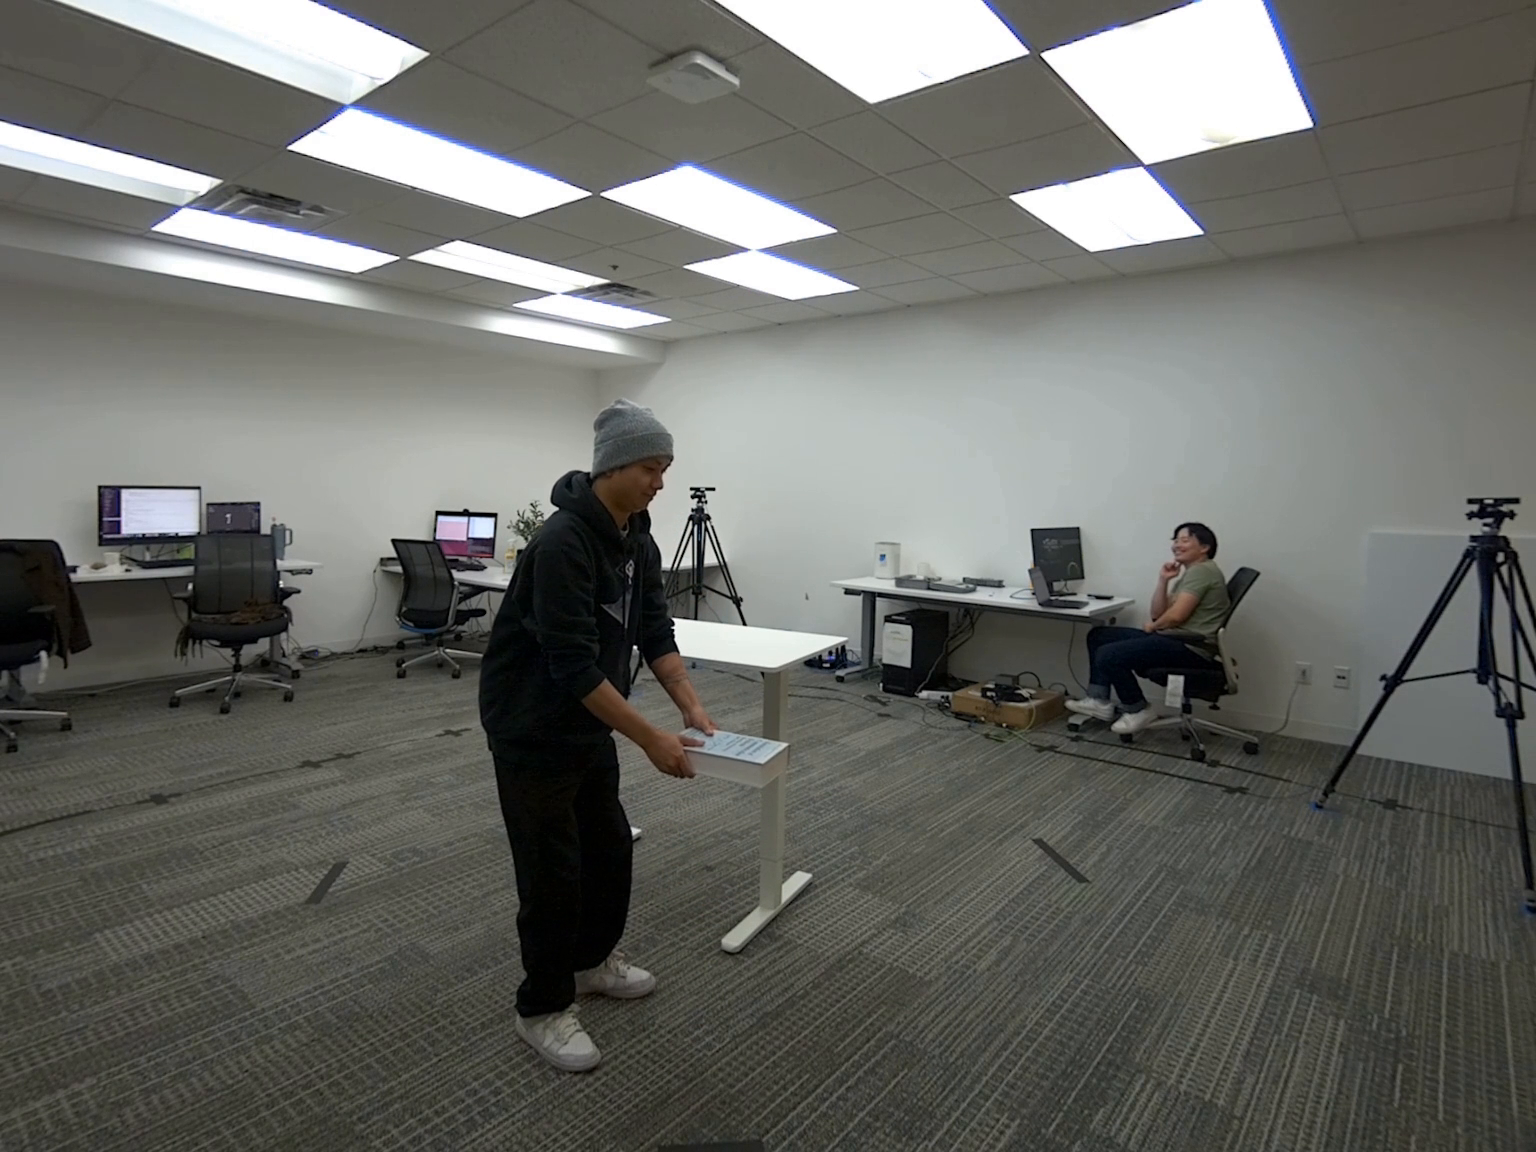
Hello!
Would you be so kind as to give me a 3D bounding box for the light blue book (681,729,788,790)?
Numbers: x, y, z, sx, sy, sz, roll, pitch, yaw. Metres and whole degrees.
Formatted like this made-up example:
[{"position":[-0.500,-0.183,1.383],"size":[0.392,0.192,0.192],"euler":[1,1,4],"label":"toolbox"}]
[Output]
[{"position":[-0.108,0.427,2.018],"size":[0.268,0.059,0.187],"euler":[5,5,23],"label":"light blue book"}]
